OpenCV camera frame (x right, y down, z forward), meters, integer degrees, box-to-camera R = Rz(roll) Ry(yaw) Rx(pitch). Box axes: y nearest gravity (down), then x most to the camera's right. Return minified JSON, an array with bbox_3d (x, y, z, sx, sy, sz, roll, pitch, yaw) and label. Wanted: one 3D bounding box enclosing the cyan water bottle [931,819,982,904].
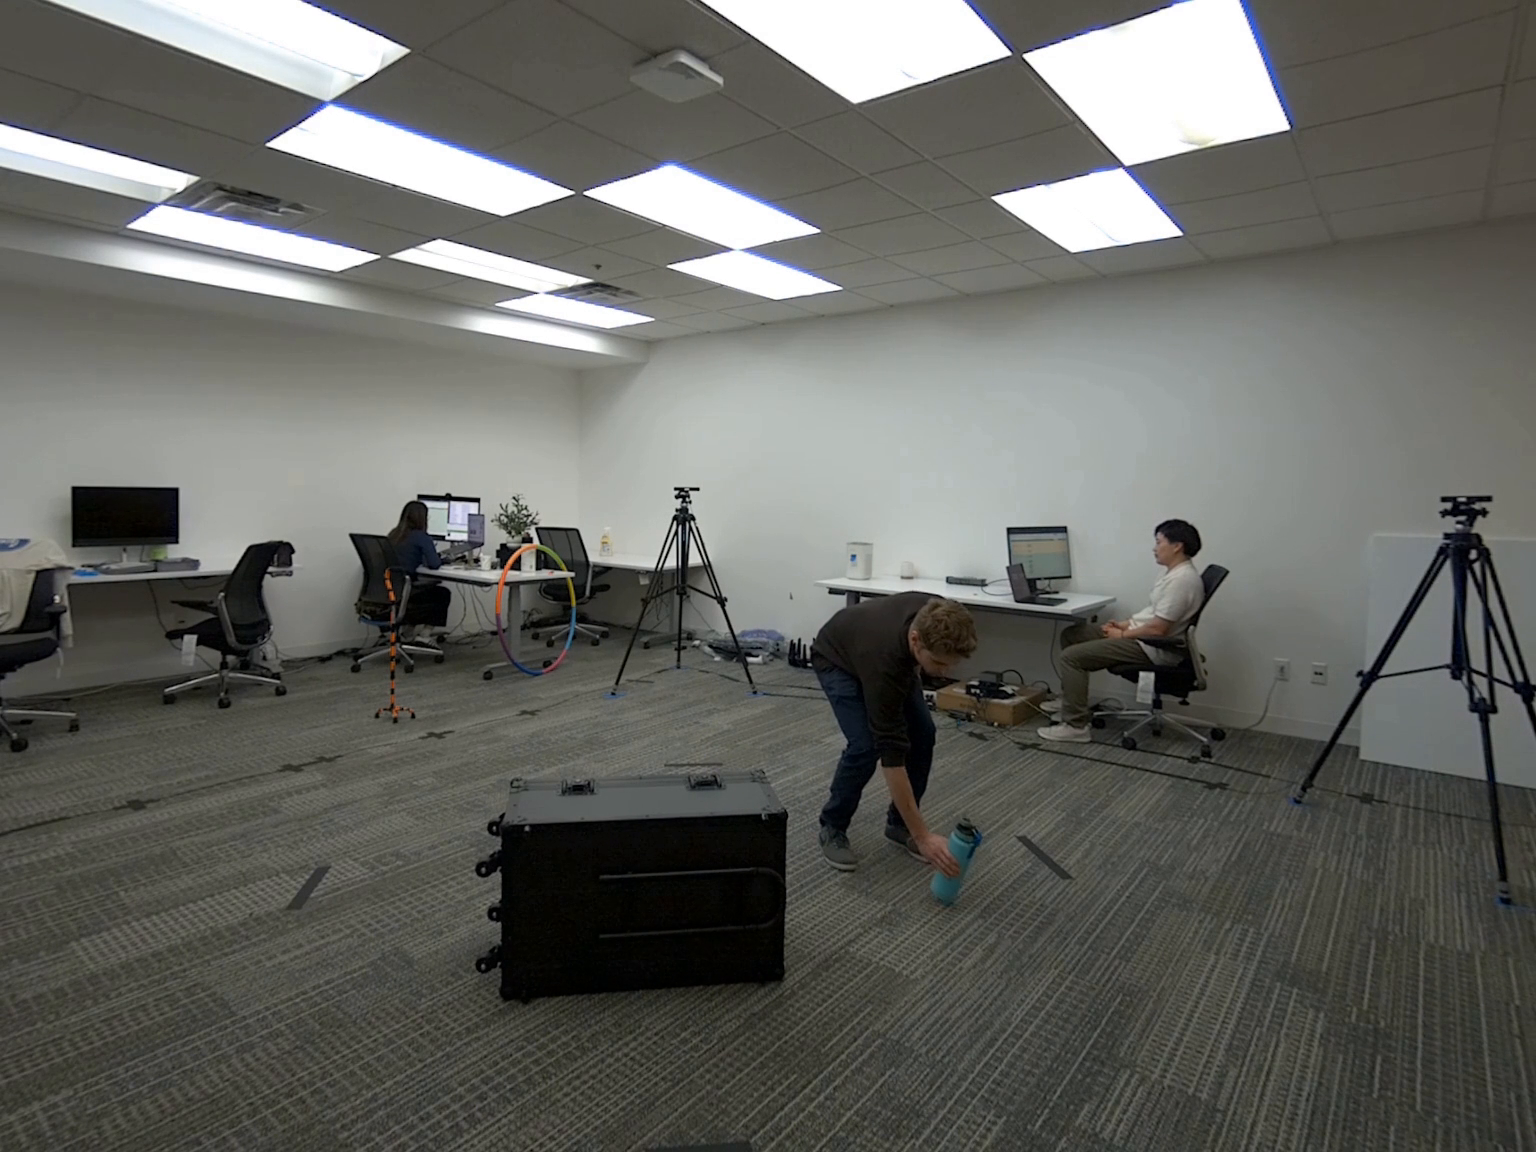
[{"bbox_3d":[0.630,0.943,2.854,0.092,0.281,0.094,14,13,-5],"label":"cyan water bottle"}]
